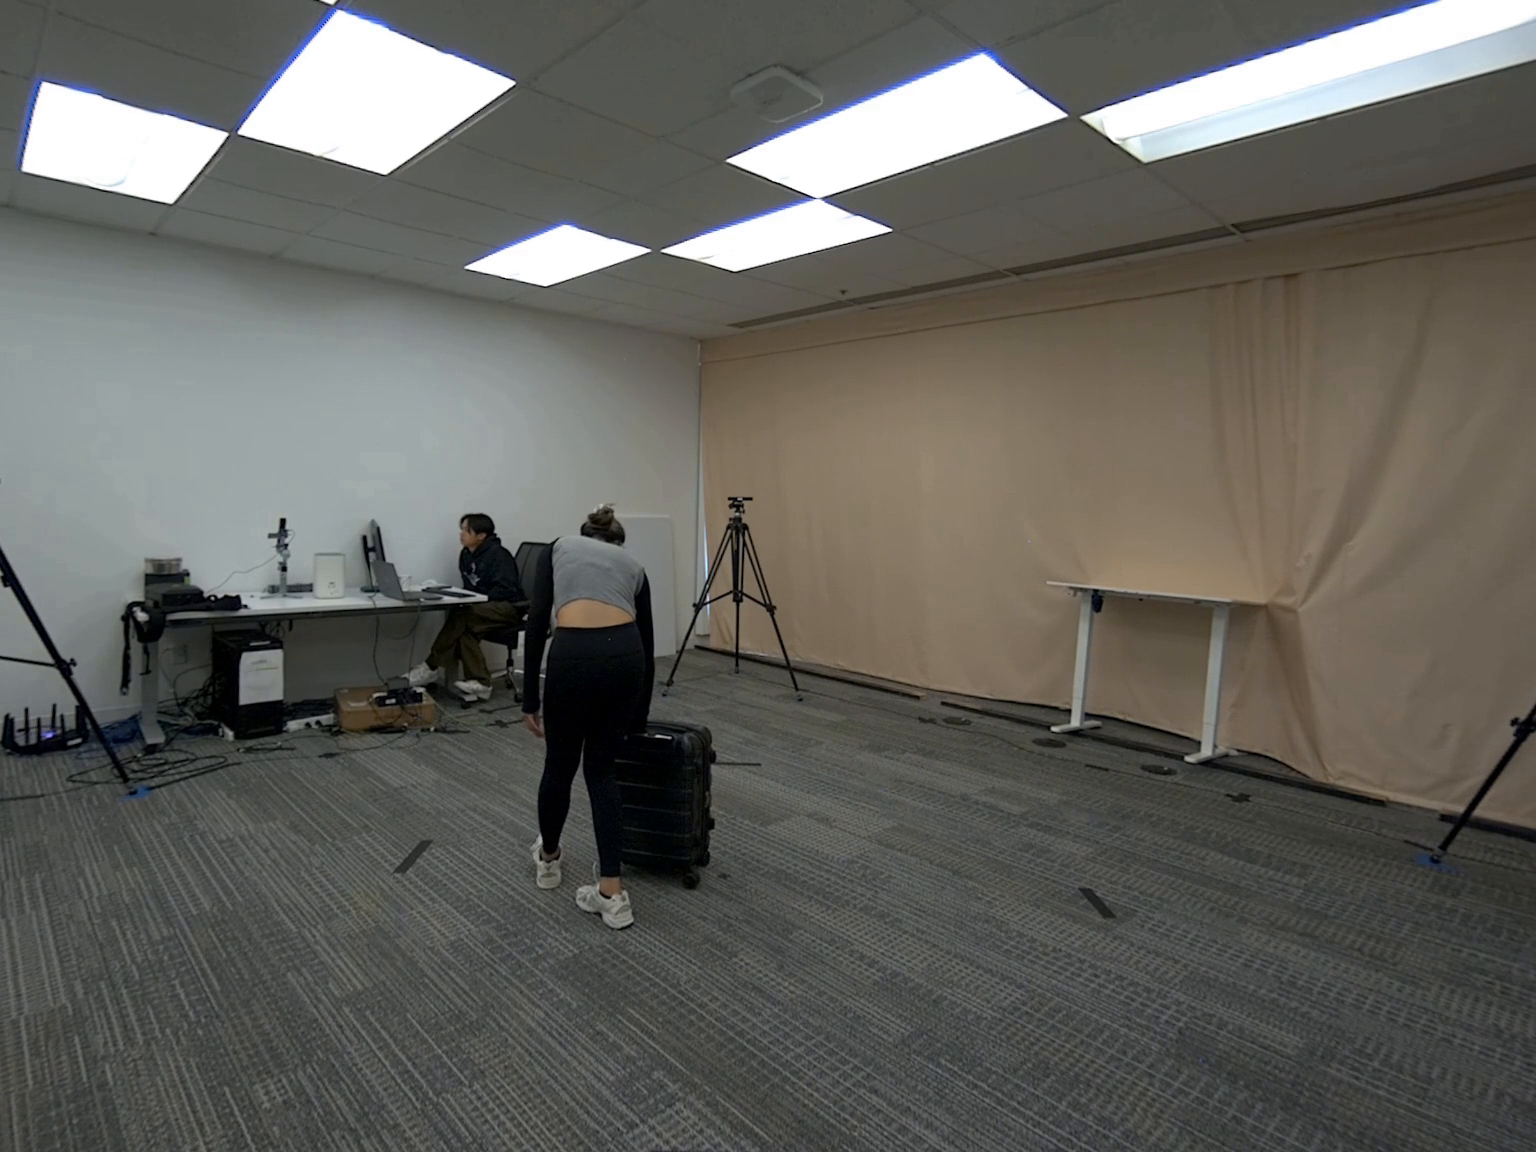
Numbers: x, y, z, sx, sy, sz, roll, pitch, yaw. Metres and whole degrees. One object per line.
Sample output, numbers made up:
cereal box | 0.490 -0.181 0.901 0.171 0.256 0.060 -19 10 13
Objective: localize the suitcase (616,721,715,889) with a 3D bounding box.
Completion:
suitcase | -0.406 0.821 3.155 0.381 0.549 0.244 1 0 18
